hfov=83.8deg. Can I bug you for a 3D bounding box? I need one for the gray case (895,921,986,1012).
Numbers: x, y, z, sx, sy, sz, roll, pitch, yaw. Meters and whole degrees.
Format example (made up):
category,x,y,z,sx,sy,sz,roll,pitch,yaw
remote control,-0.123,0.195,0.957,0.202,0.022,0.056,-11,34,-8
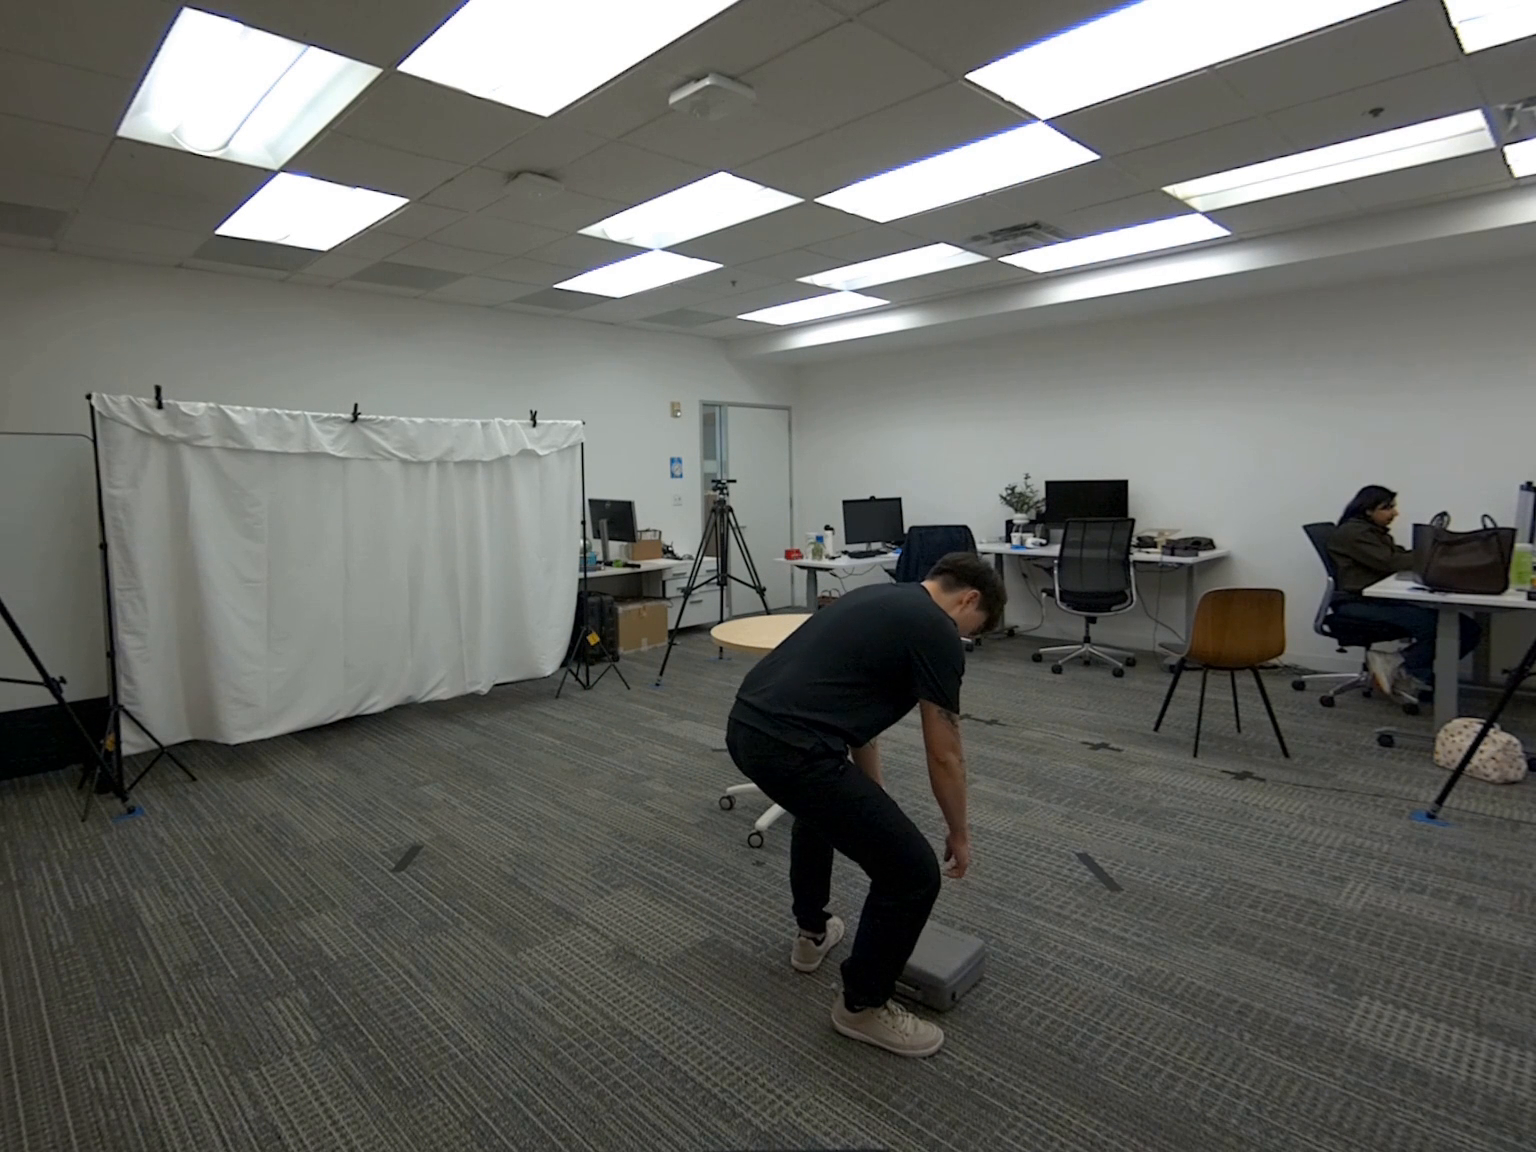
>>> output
category,x,y,z,sx,sy,sz,roll,pitch,yaw
gray case,0.441,1.063,2.374,0.265,0.104,0.254,6,10,41
